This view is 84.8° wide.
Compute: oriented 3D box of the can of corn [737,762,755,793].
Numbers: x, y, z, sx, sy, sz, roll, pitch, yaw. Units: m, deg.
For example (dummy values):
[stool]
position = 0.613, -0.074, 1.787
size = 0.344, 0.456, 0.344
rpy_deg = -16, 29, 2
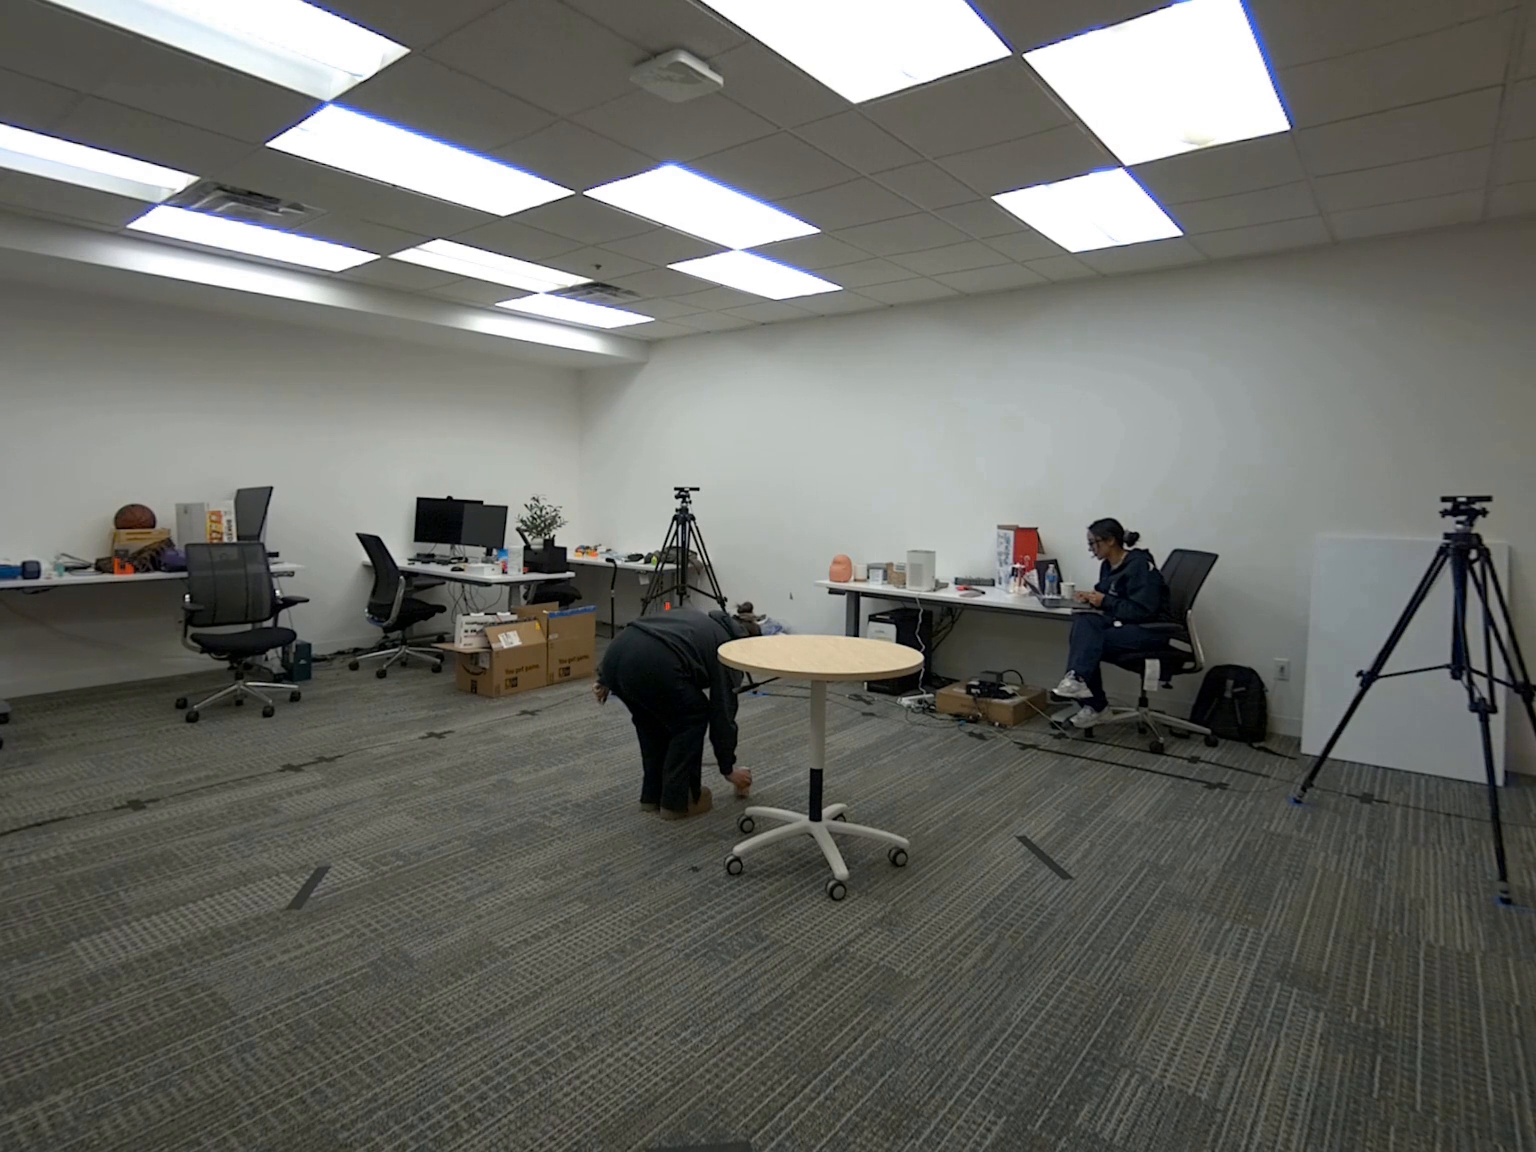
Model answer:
[can of corn]
position = -0.105, 0.919, 3.845
size = 0.074, 0.111, 0.074
rpy_deg = 2, 1, -2
